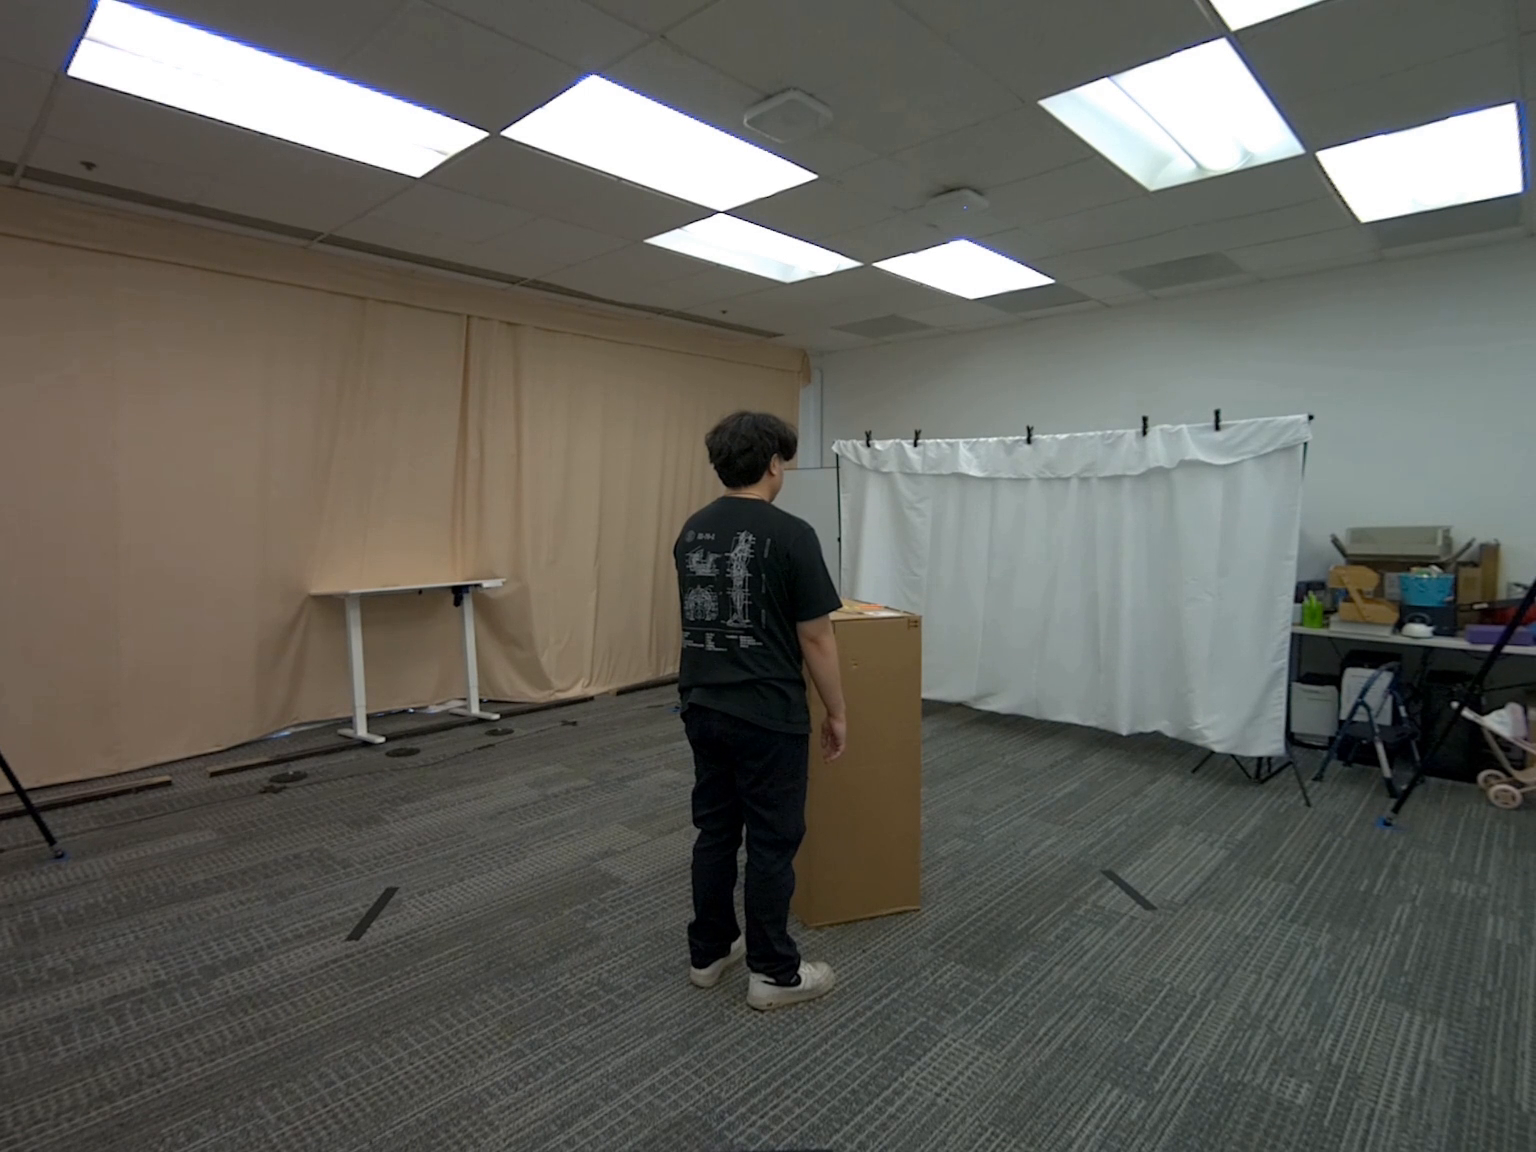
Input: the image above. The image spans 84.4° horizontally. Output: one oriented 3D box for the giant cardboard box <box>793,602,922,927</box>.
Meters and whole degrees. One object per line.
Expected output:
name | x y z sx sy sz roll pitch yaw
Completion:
giant cardboard box | 0.229 0.623 3.079 0.438 1.025 0.597 -1 3 -21
